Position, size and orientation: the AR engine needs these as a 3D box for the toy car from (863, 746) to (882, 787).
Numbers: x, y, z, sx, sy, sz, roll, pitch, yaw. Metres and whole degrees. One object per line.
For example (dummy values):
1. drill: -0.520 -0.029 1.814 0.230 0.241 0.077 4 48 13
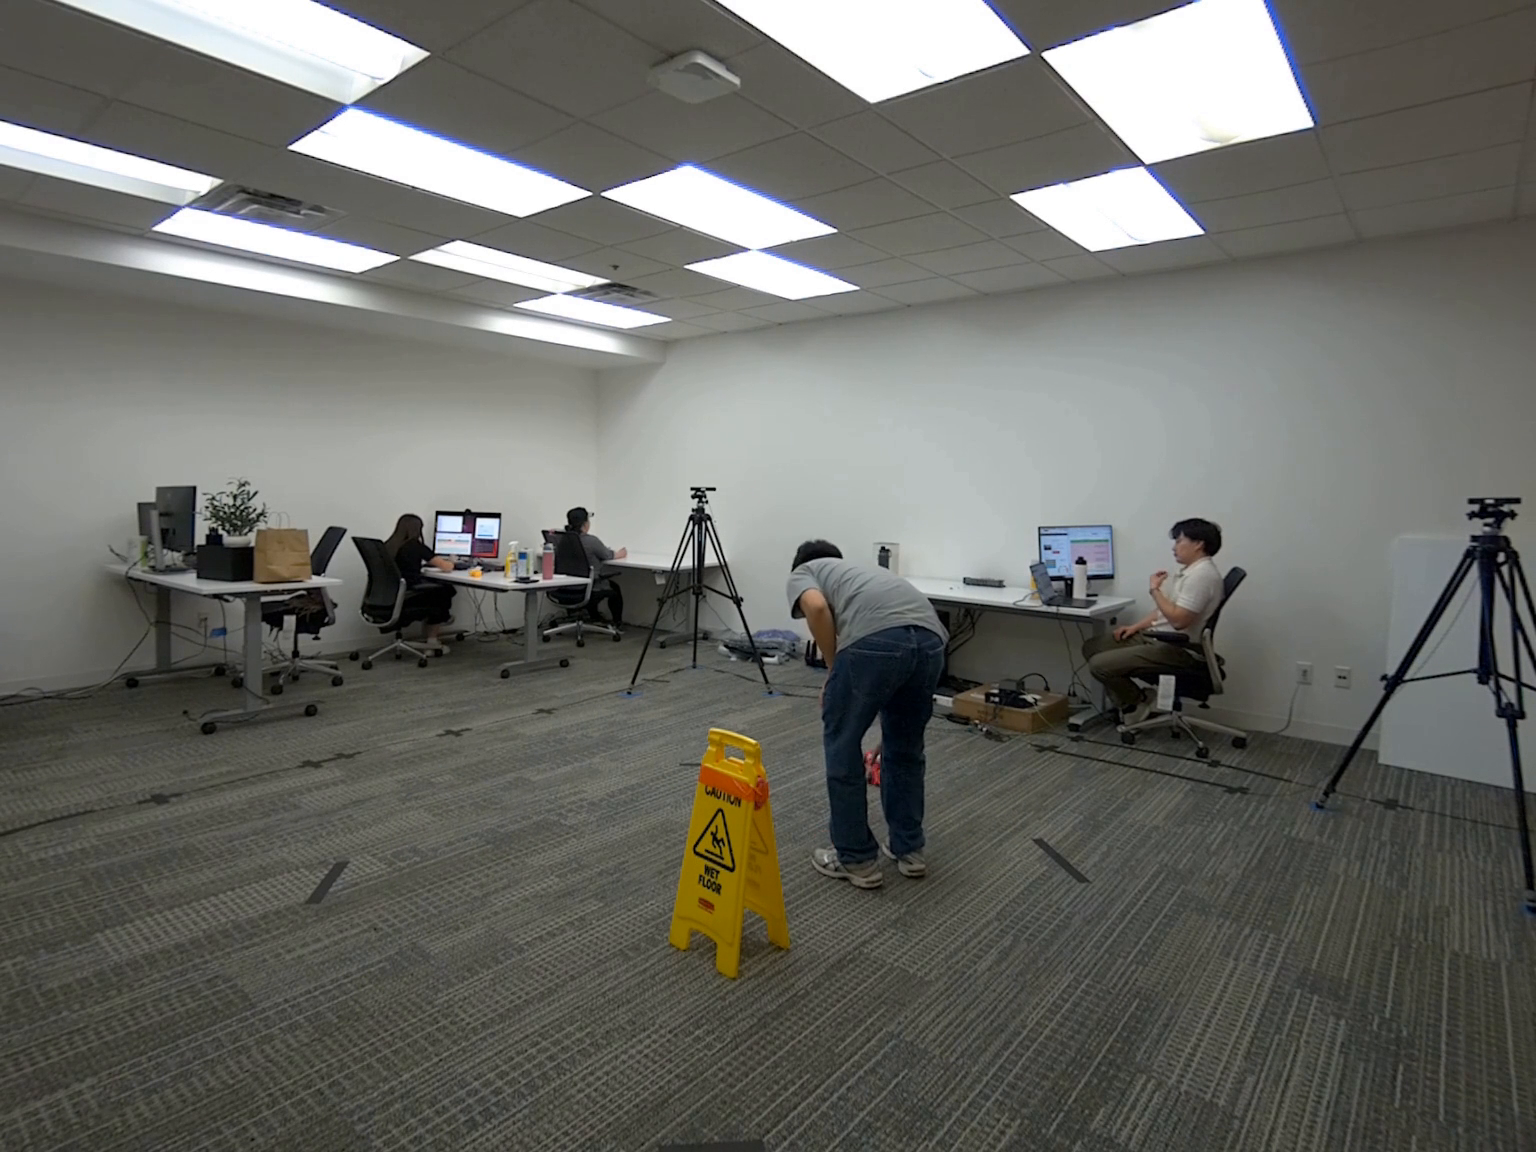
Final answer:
1. toy car: 0.444 0.778 3.386 0.130 0.083 0.257 10 9 -5
